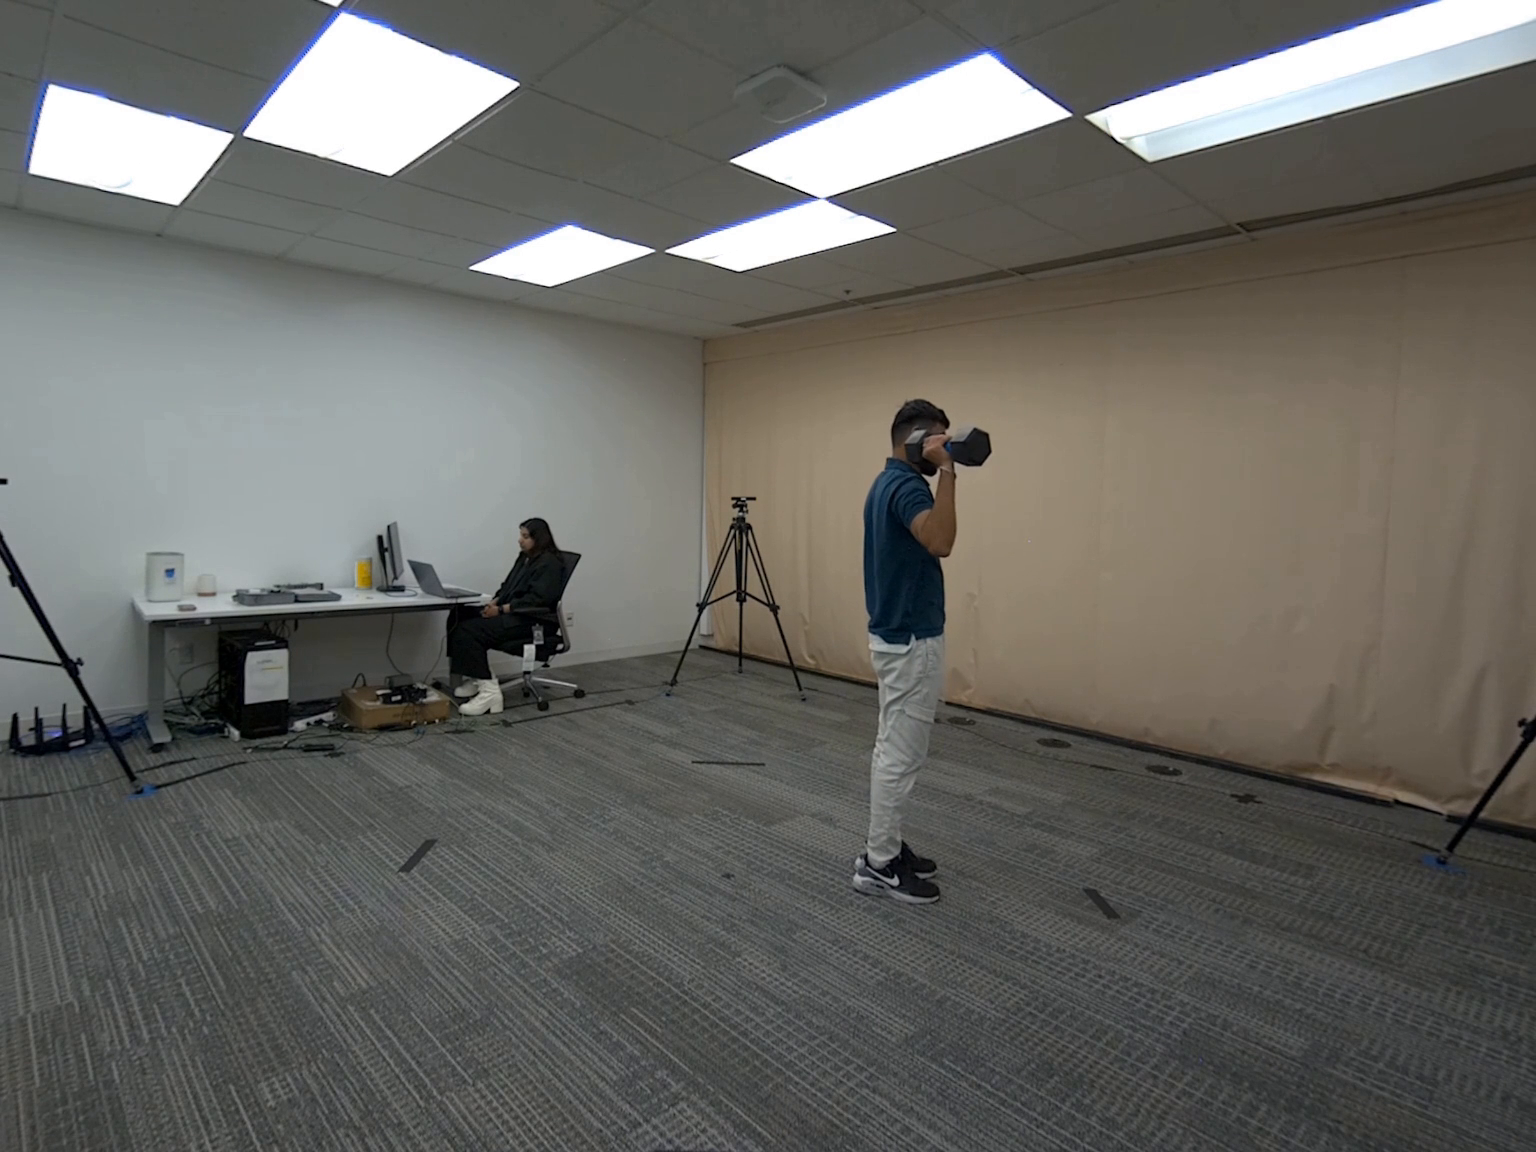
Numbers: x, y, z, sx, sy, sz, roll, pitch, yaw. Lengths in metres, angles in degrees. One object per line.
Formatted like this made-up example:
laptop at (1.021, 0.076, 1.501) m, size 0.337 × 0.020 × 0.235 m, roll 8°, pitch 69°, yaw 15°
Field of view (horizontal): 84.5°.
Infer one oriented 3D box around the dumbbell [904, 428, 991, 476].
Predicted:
dumbbell at (0.556, -0.414, 2.678) m, size 0.120 × 0.109 × 0.300 m, roll 14°, pitch -2°, yaw -28°
